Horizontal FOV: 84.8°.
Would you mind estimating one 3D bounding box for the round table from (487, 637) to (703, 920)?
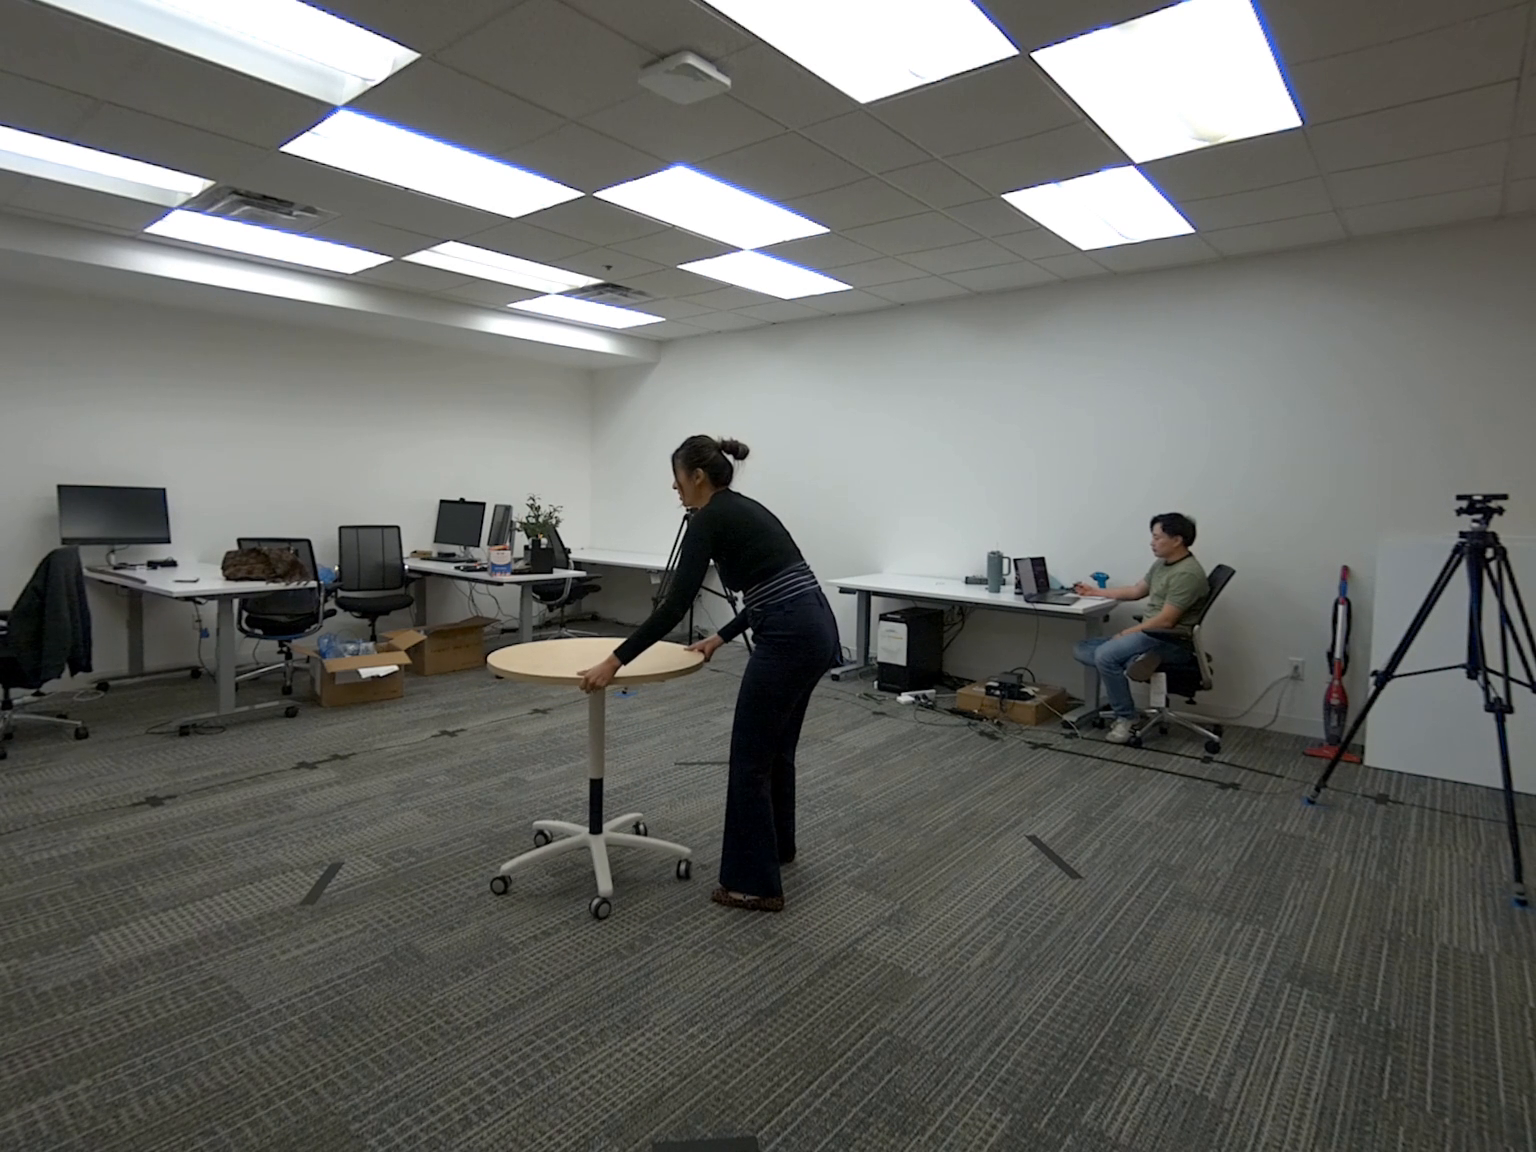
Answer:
[{"bbox_3d":[-0.625,0.676,3.065,0.763,0.792,0.767,1,4,-2],"label":"round table"}]
